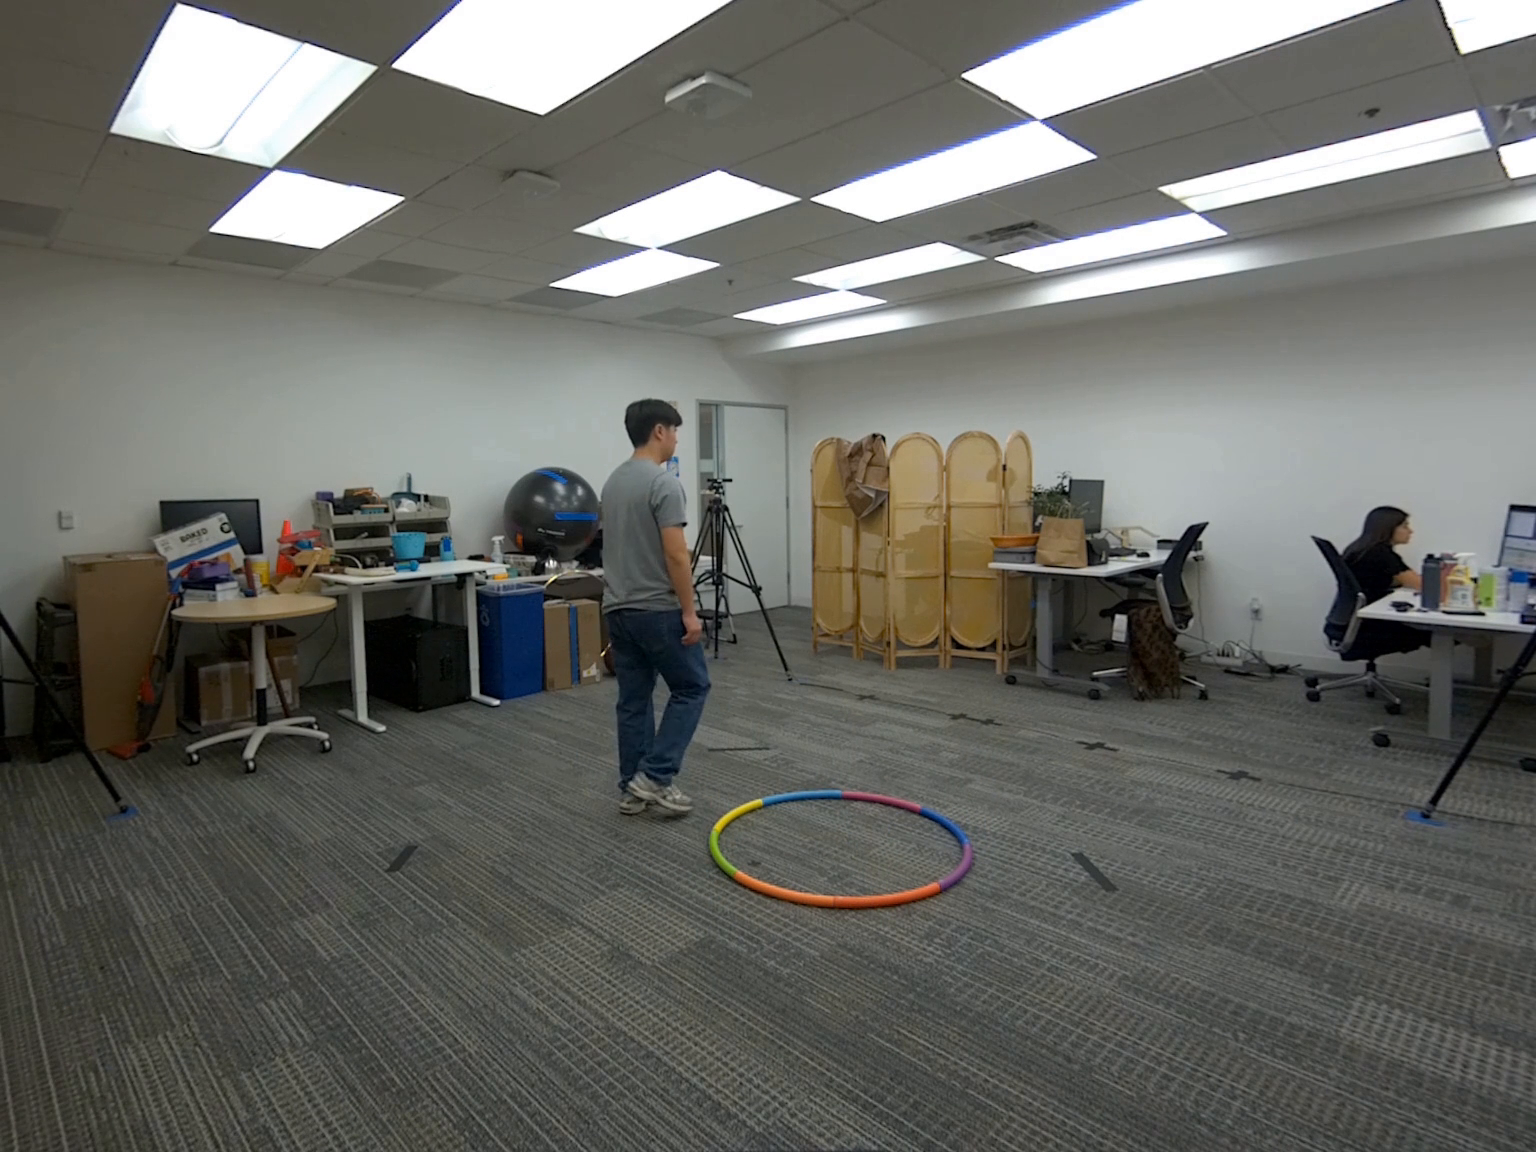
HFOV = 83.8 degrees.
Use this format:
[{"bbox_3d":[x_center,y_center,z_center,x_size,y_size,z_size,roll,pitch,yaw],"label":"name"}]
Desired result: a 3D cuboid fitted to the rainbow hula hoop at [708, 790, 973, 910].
[{"bbox_3d":[0.258,0.994,3.246,0.978,0.035,0.984,-1,7,-2],"label":"rainbow hula hoop"}]
